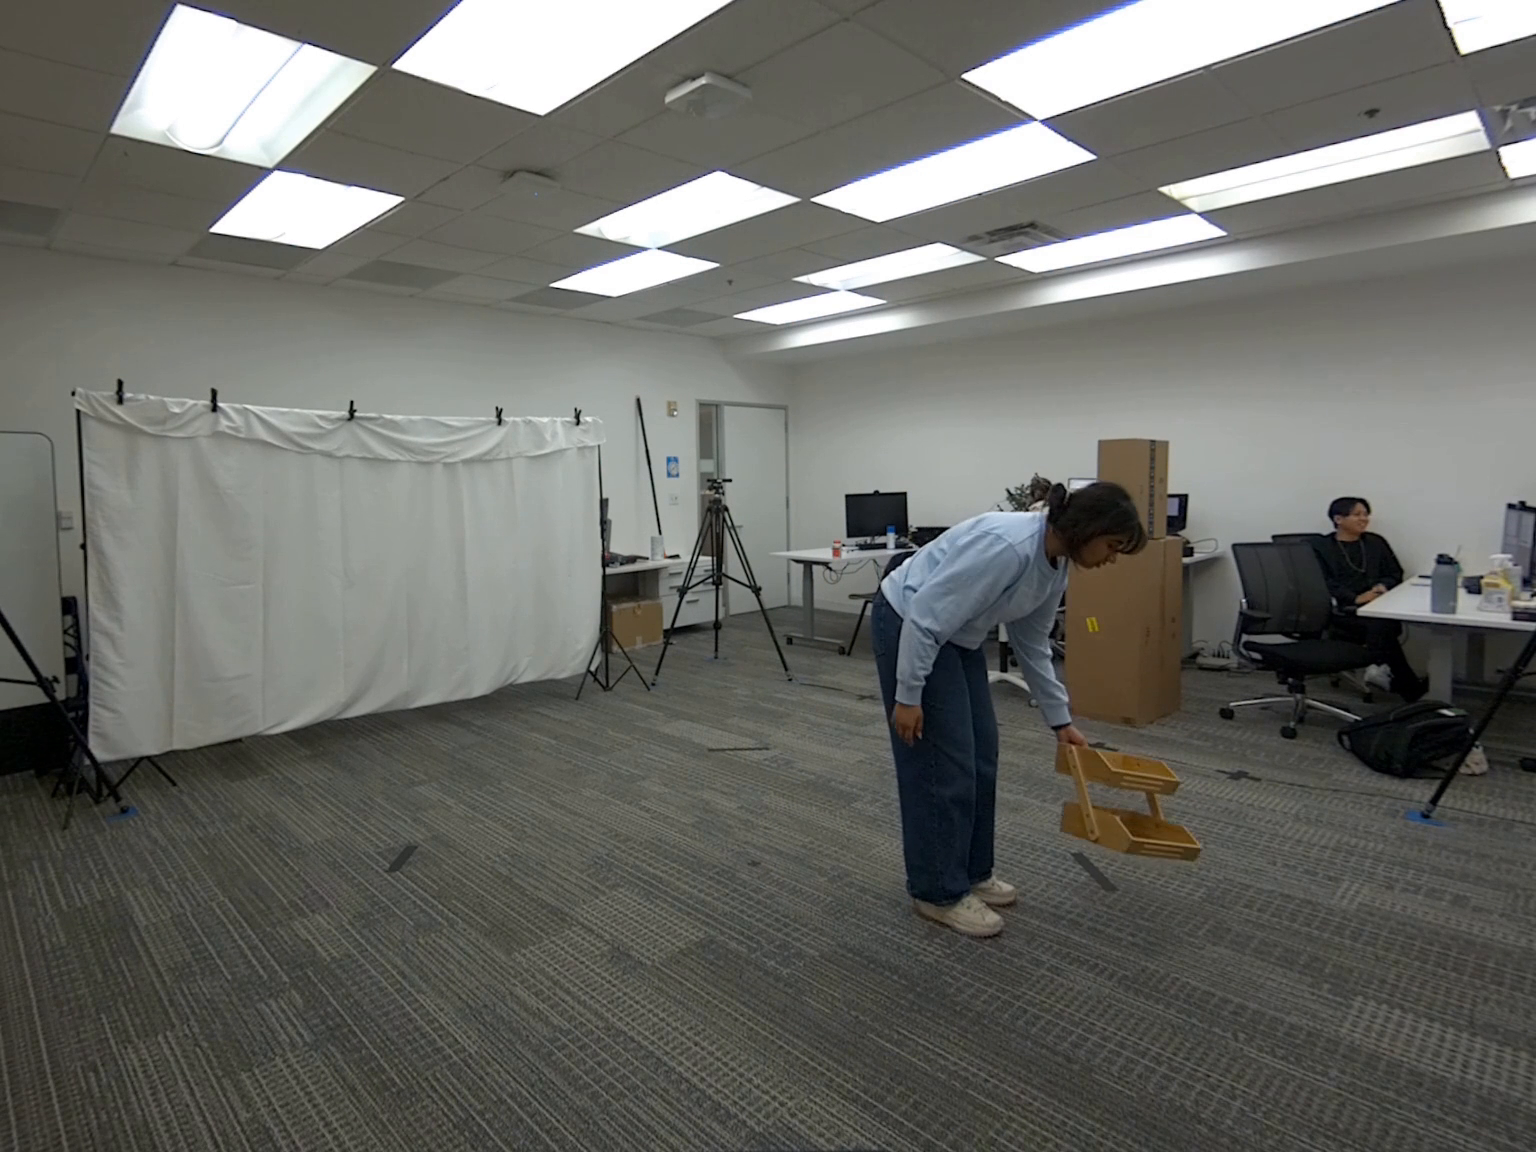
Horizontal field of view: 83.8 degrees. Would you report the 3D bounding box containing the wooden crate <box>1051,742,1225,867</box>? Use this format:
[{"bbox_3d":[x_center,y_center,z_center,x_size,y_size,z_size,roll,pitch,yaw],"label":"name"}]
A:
[{"bbox_3d":[1.098,0.667,2.559,0.317,0.275,0.308,13,-8,-23],"label":"wooden crate"}]
